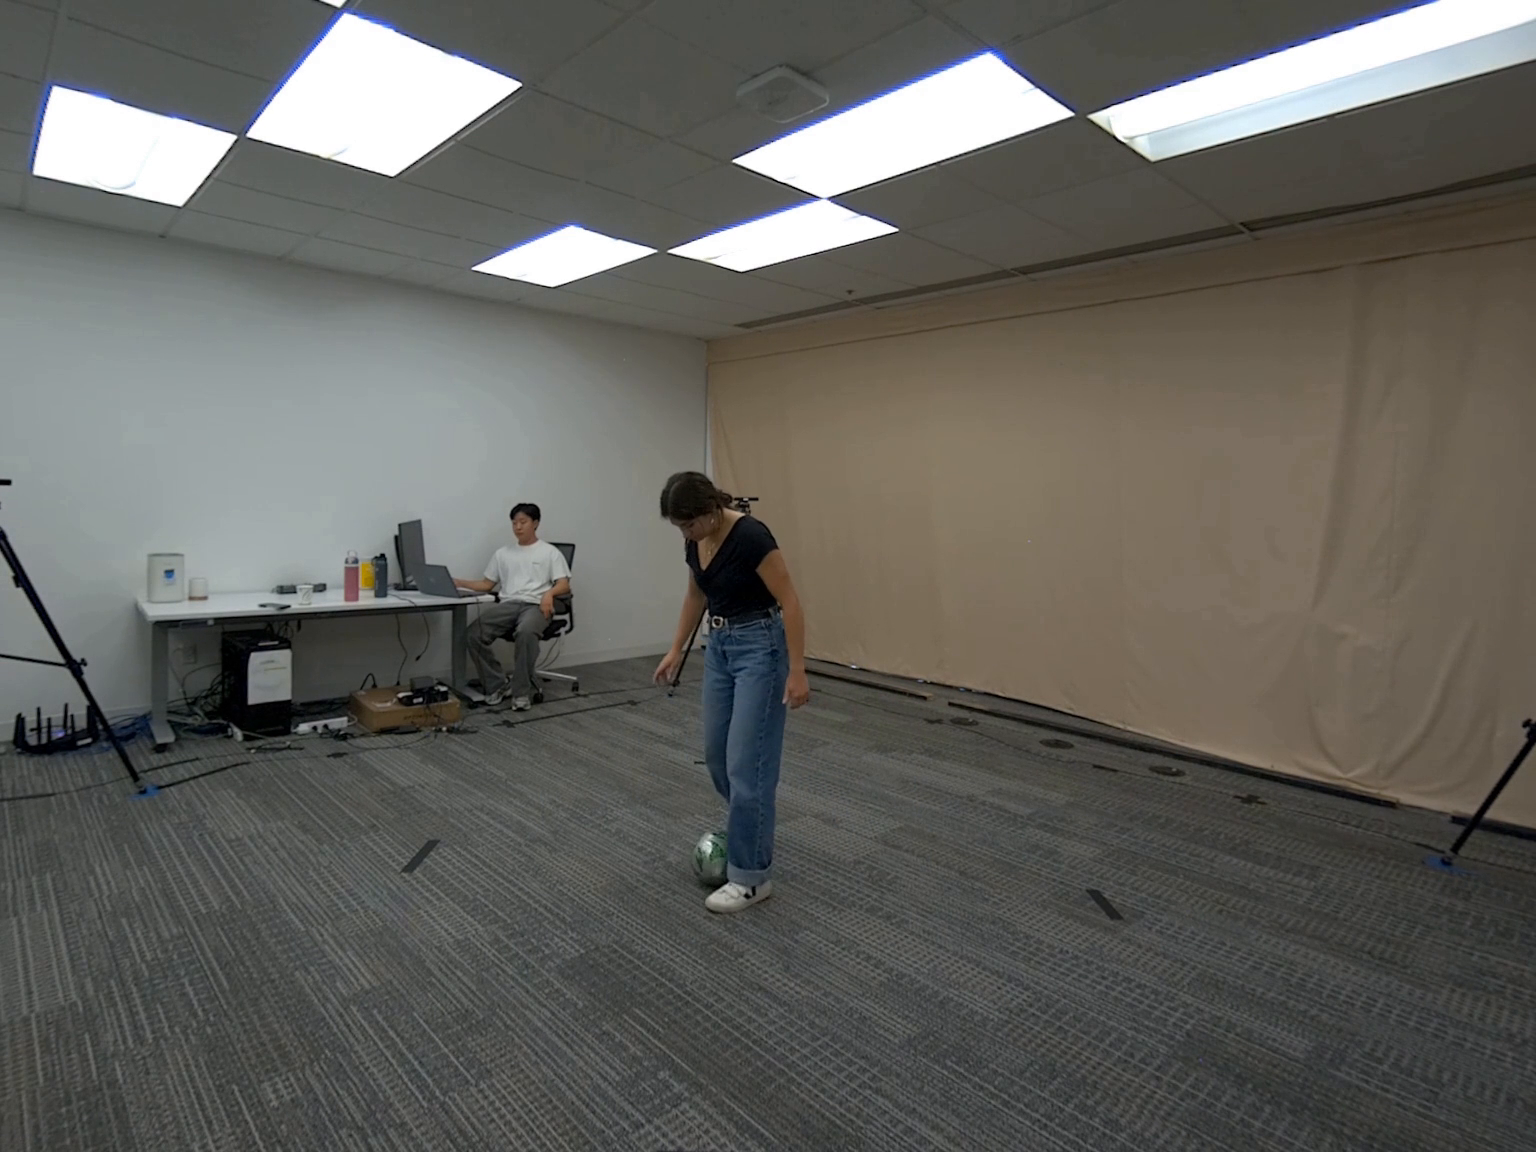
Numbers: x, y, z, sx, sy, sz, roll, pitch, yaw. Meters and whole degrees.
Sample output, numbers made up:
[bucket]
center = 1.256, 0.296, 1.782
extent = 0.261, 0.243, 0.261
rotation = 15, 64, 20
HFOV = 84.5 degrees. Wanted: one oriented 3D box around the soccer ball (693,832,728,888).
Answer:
[soccer ball]
center = -0.197, 1.022, 3.035
extent = 0.187, 0.187, 0.188
rotation = 1, 4, -1
